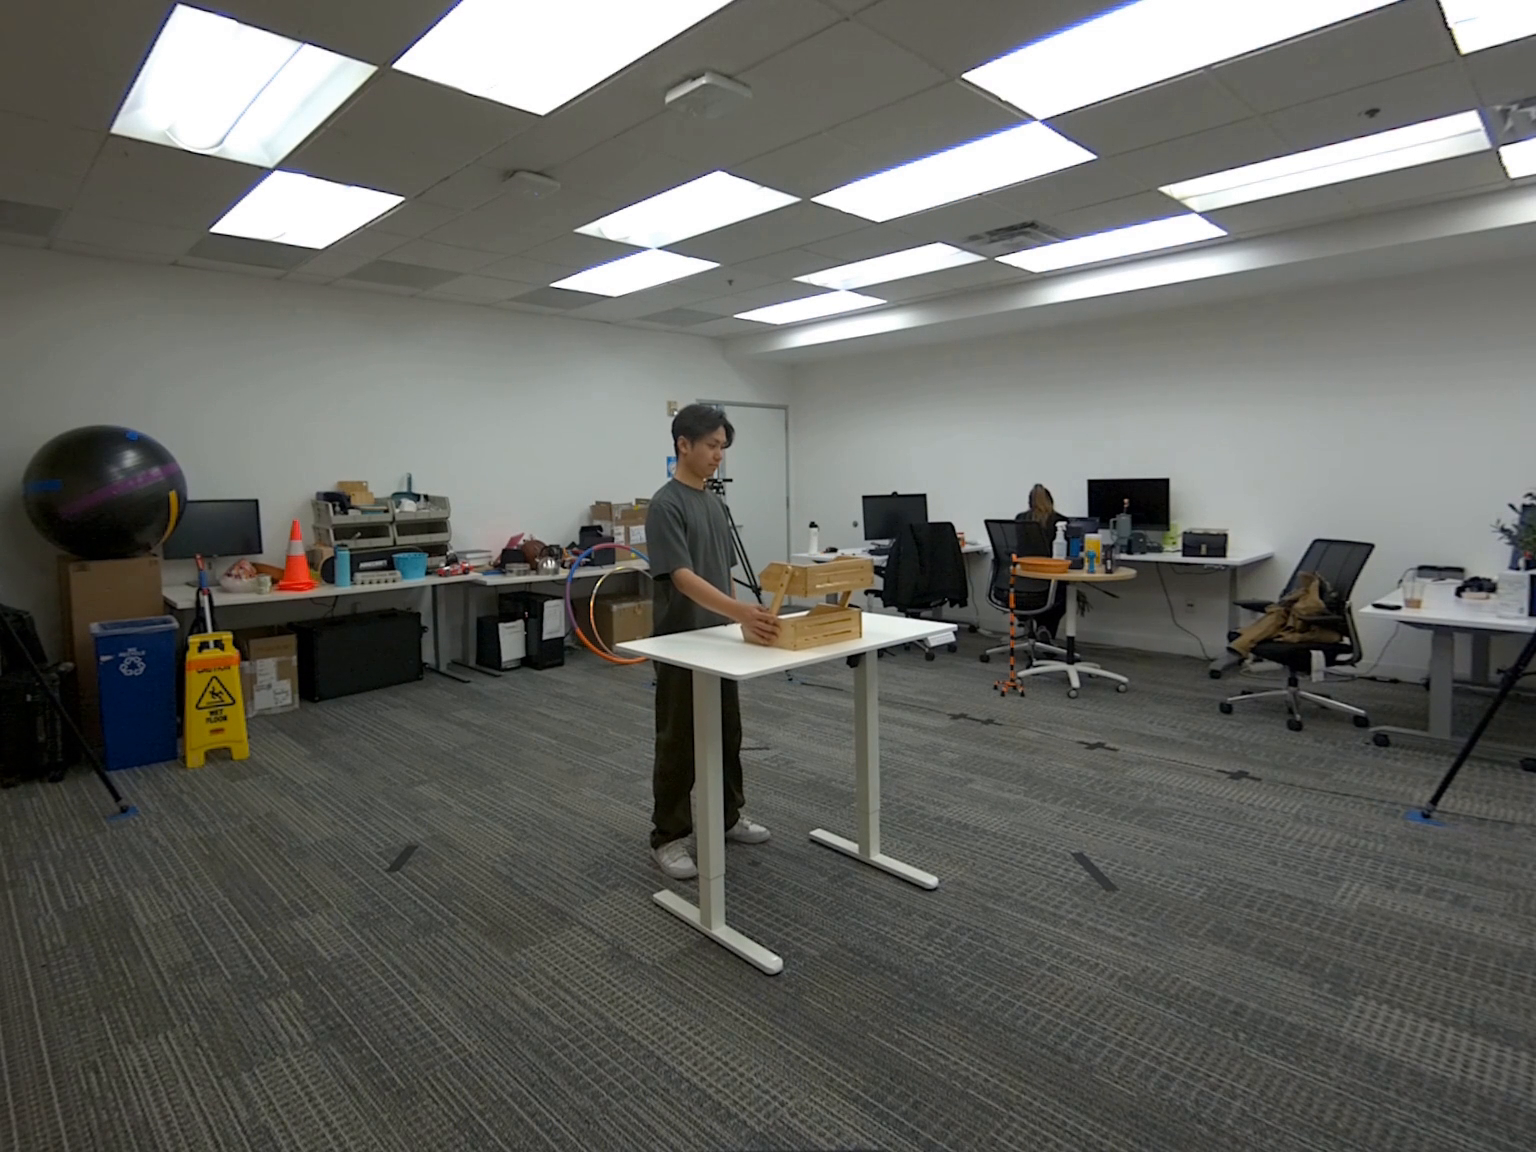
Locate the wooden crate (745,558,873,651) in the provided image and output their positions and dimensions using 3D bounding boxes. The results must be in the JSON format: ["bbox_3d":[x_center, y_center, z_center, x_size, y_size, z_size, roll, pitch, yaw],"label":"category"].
[{"bbox_3d":[0.127,0.070,2.711,0.316,0.272,0.311,-7,8,-40],"label":"wooden crate"}]
